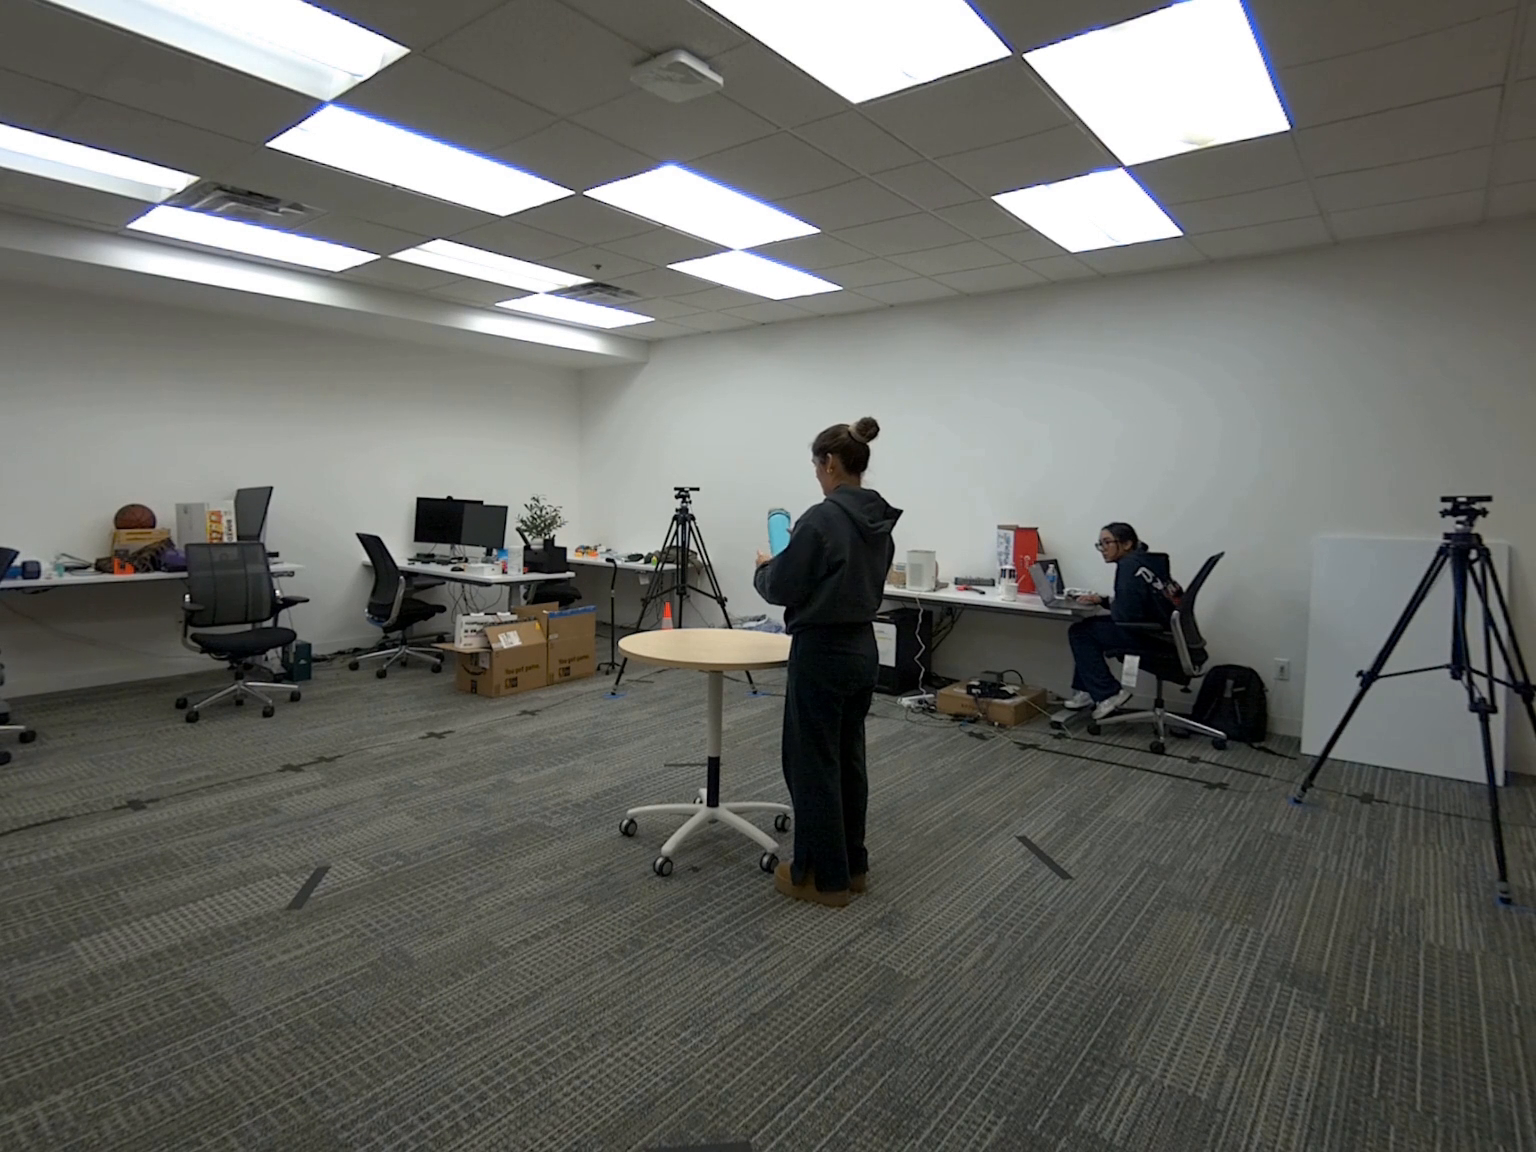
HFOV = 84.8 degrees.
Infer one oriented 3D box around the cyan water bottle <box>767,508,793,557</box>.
[{"bbox_3d":[0.047,-0.149,3.224,0.091,0.293,0.090,-1,-42,-11],"label":"cyan water bottle"}]
